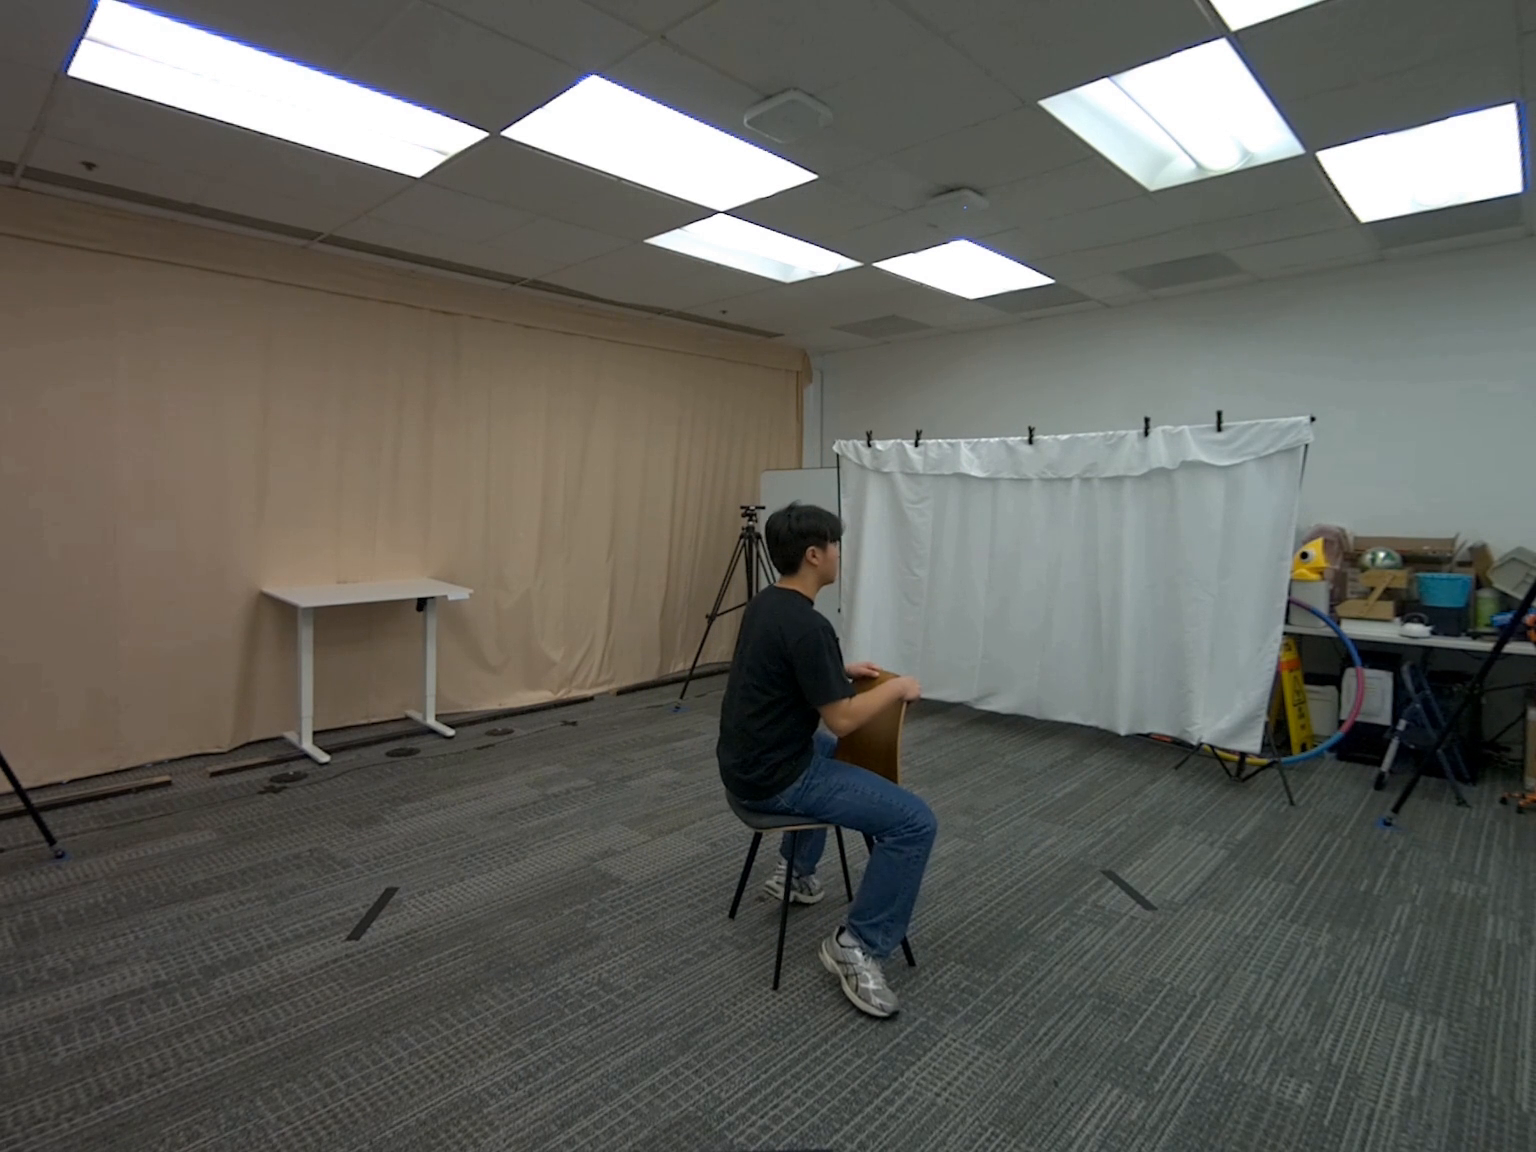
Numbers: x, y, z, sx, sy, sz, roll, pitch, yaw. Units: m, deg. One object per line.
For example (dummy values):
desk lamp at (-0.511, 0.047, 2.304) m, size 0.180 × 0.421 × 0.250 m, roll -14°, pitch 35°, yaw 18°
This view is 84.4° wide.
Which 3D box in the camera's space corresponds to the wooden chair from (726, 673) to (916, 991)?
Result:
wooden chair at (0.152, 0.745, 2.666) m, size 0.514 × 0.876 × 0.487 m, roll 2°, pitch 2°, yaw -17°
